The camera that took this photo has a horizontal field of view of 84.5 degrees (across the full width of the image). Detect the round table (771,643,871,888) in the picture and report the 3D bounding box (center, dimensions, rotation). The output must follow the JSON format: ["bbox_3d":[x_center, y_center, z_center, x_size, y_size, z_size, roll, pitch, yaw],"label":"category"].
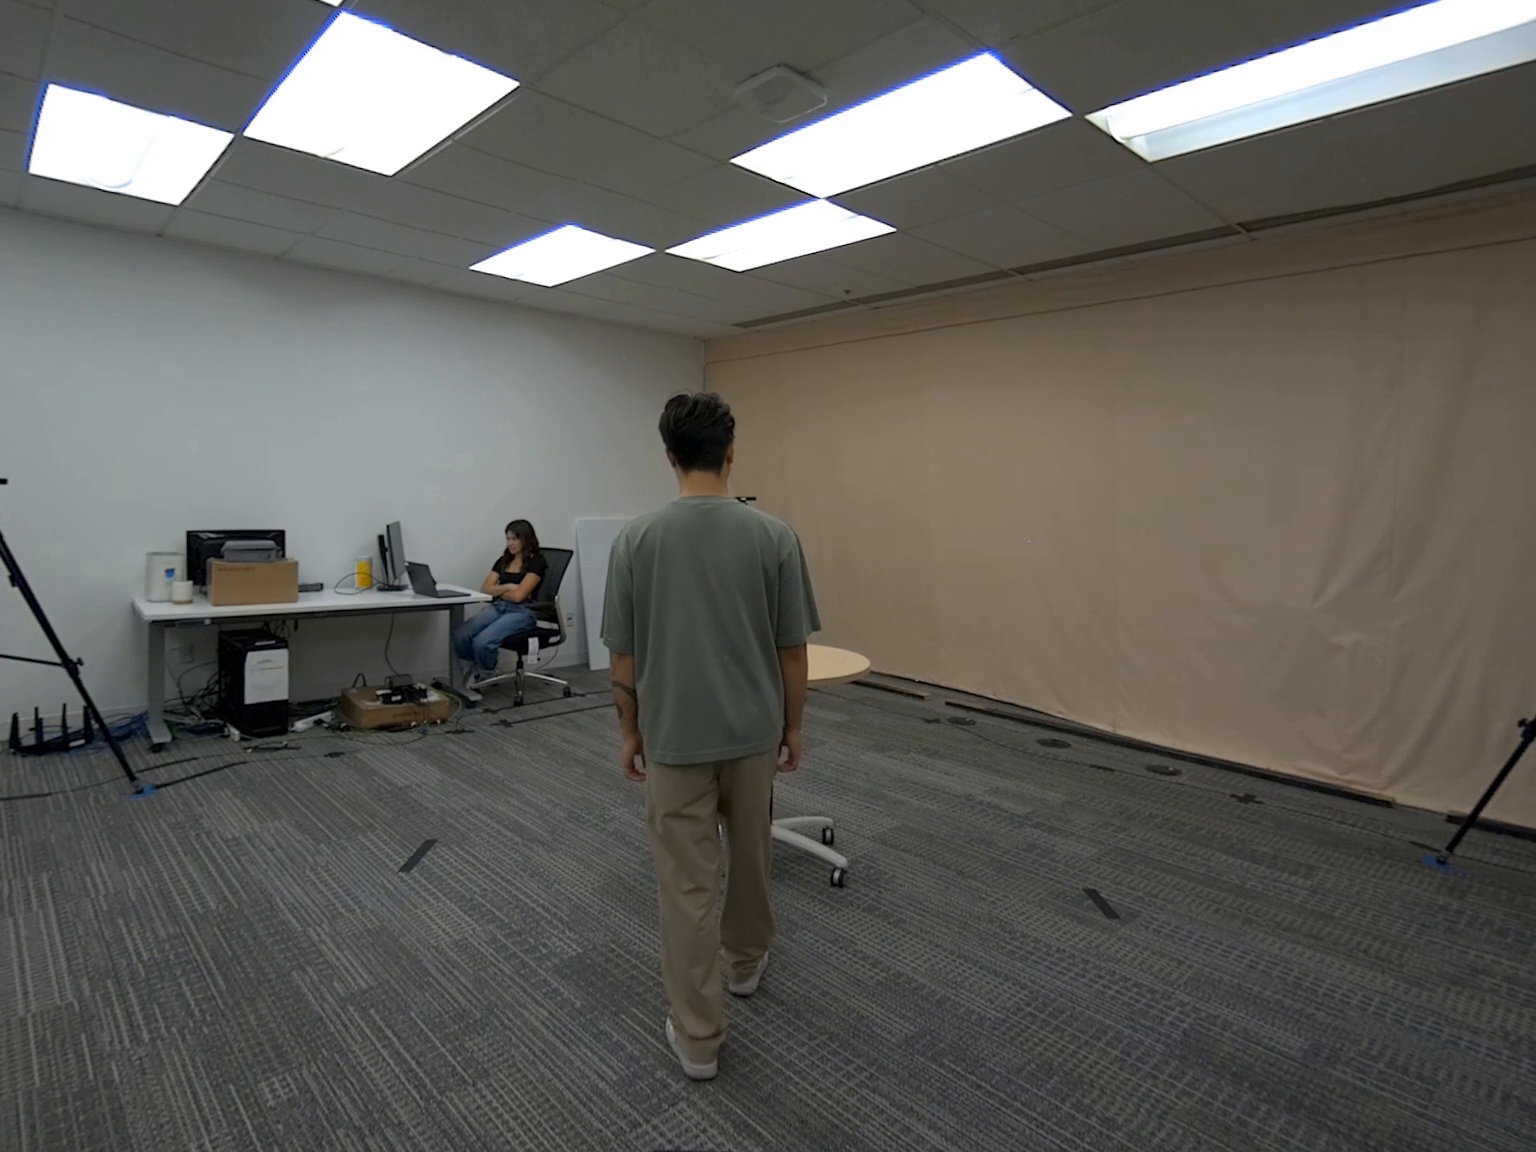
[{"bbox_3d":[0.004,0.709,3.238,0.784,0.784,0.788,1,4,-1],"label":"round table"}]
